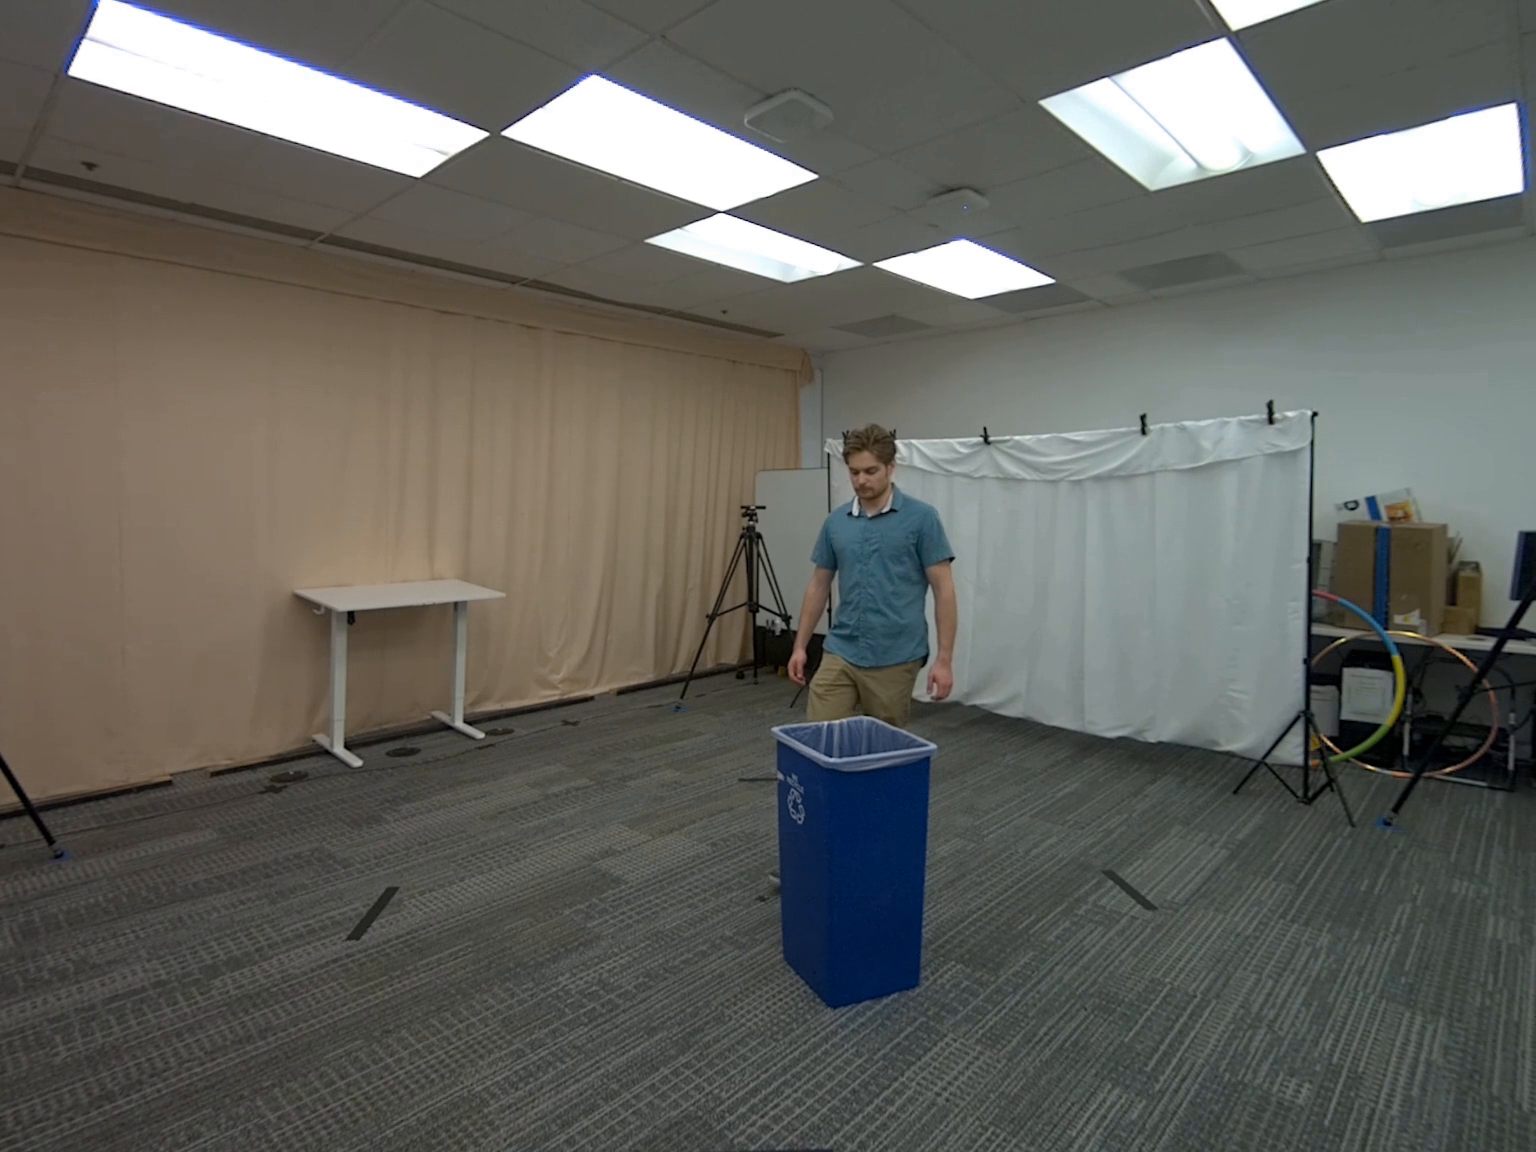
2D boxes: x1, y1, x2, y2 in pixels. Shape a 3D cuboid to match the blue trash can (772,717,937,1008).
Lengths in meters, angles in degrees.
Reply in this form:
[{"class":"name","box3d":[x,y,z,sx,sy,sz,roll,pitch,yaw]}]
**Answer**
[{"class":"blue trash can","box3d":[0.251,0.825,2.495,0.369,0.712,0.384,-2,4,-25]}]
